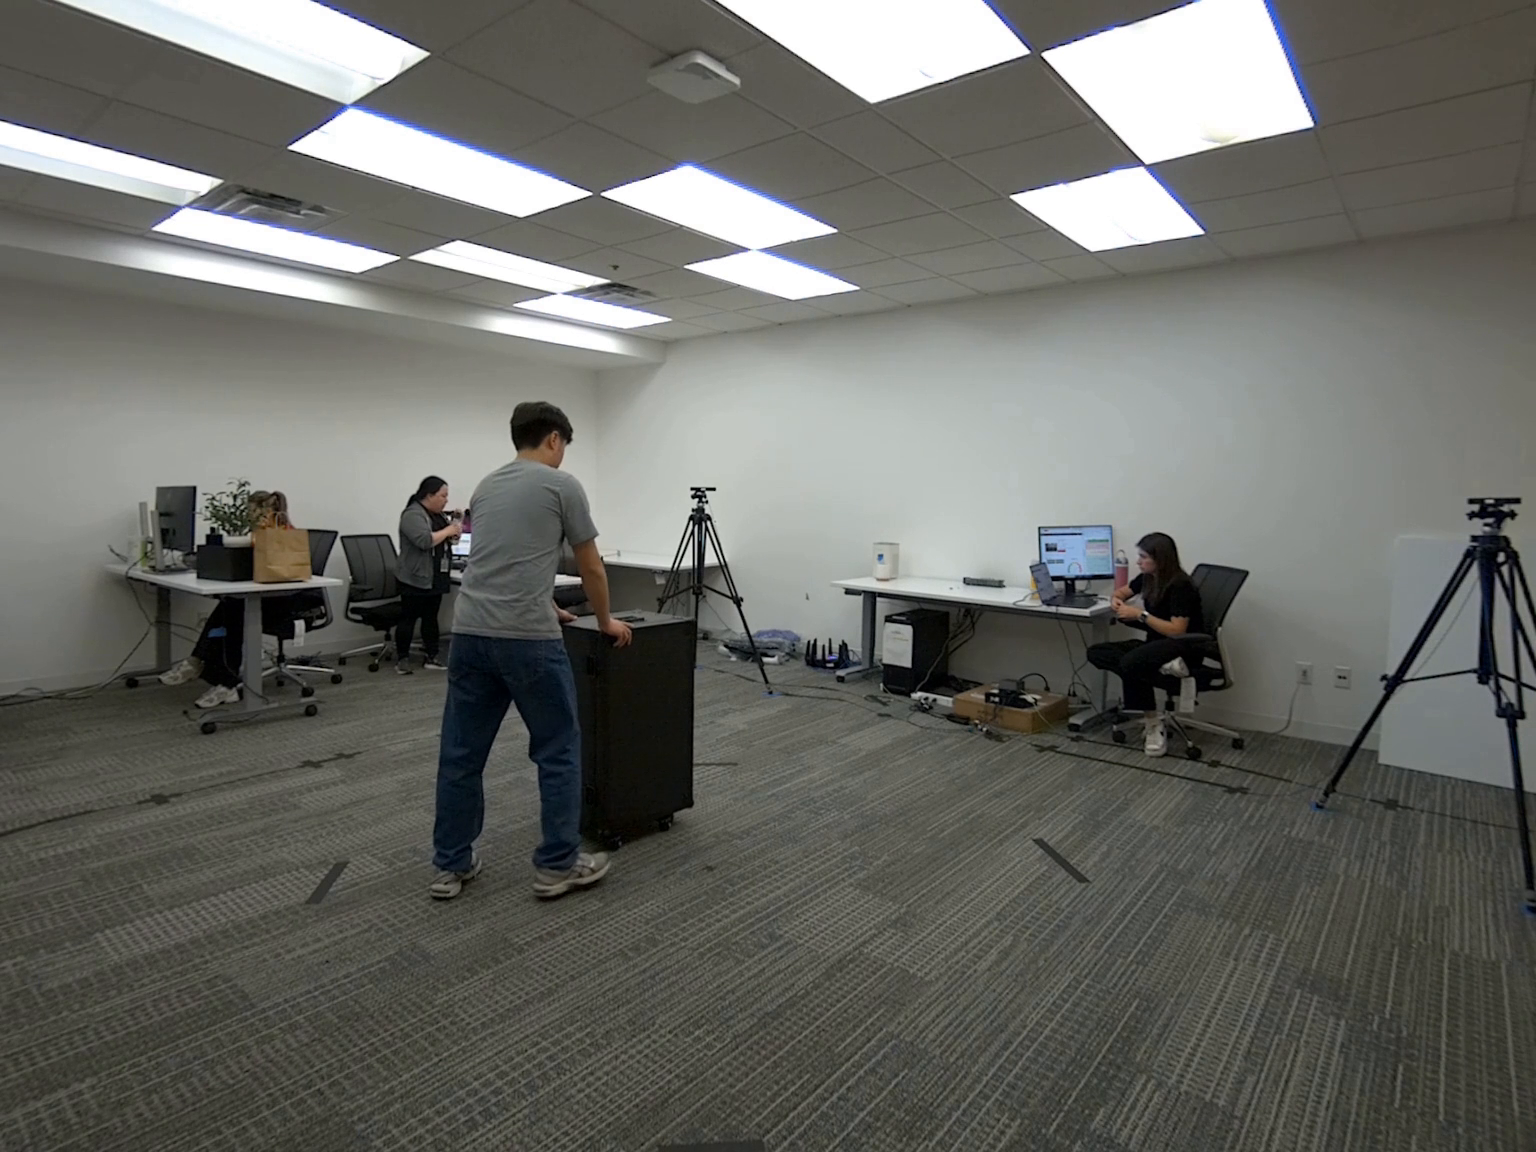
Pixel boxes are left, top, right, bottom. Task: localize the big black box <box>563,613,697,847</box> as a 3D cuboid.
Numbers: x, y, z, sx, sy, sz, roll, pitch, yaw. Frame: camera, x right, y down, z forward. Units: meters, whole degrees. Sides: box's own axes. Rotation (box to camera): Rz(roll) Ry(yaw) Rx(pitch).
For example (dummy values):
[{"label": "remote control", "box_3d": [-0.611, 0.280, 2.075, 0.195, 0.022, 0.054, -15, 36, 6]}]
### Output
[{"label": "big black box", "box_3d": [-0.614, 0.605, 3.453, 0.409, 0.859, 0.506, 2, 4, 41]}]
